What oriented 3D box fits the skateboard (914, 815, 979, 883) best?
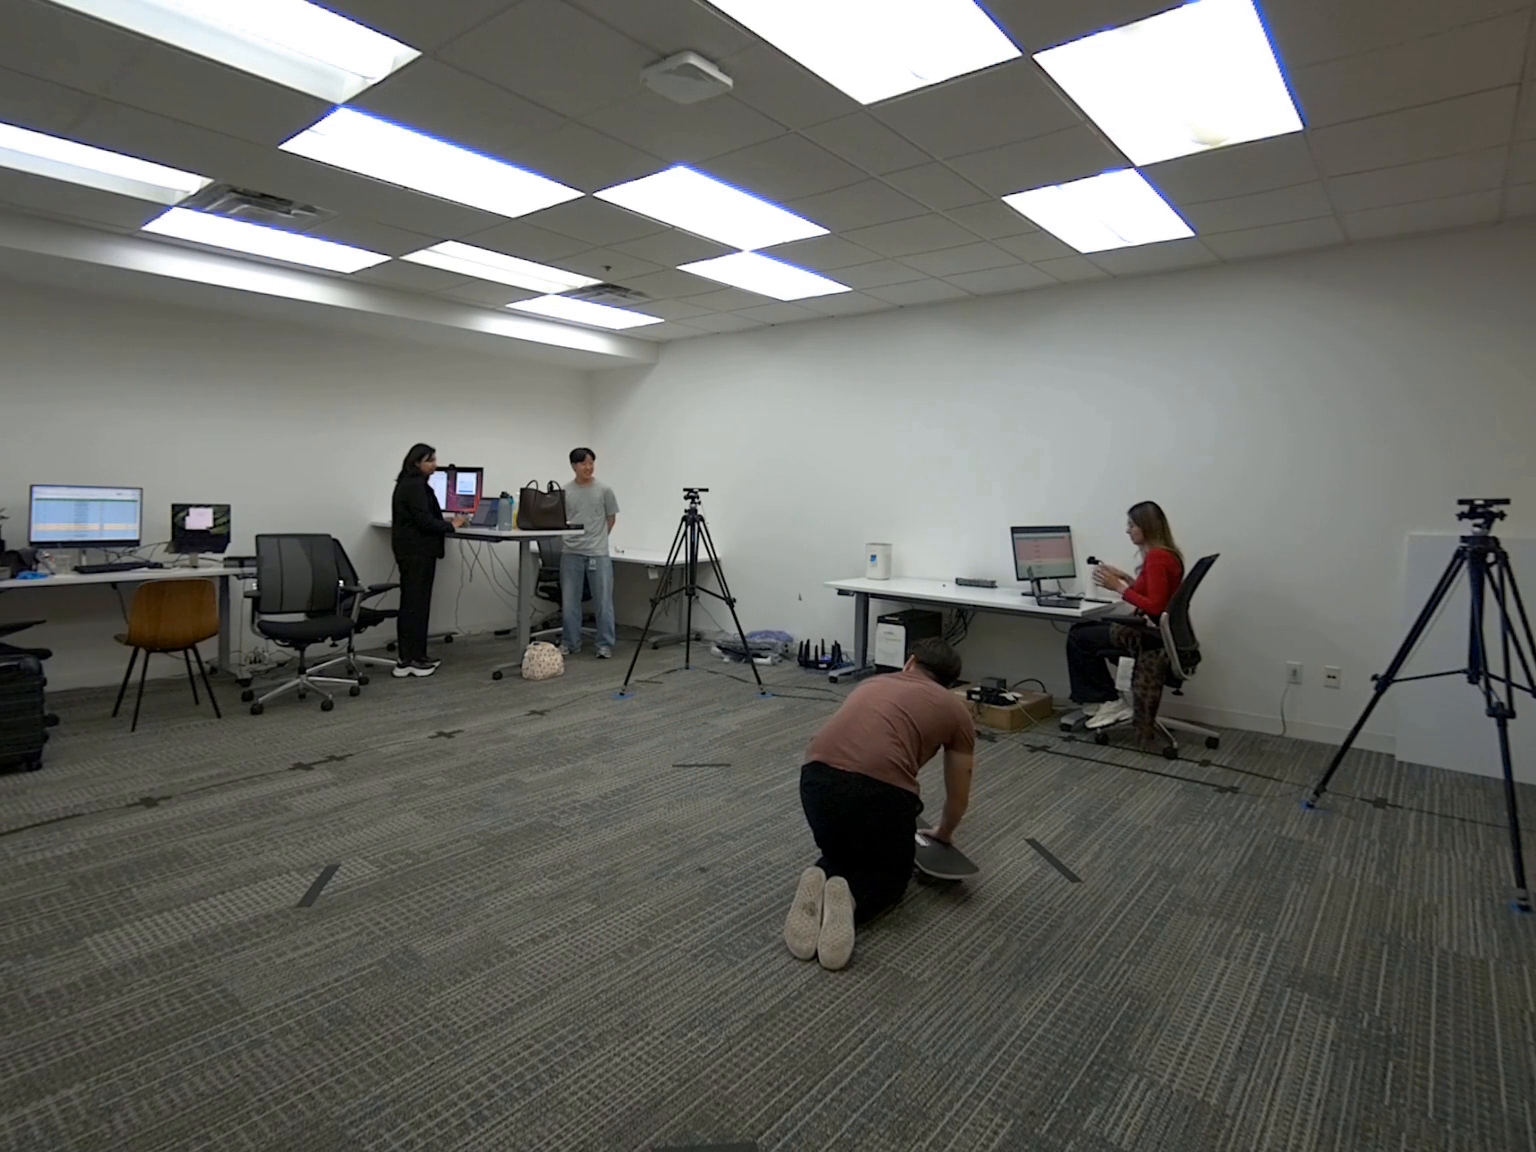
[{"bbox_3d":[0.552,1.014,3.246,0.191,0.110,0.798,-2,6,-14],"label":"skateboard"}]
